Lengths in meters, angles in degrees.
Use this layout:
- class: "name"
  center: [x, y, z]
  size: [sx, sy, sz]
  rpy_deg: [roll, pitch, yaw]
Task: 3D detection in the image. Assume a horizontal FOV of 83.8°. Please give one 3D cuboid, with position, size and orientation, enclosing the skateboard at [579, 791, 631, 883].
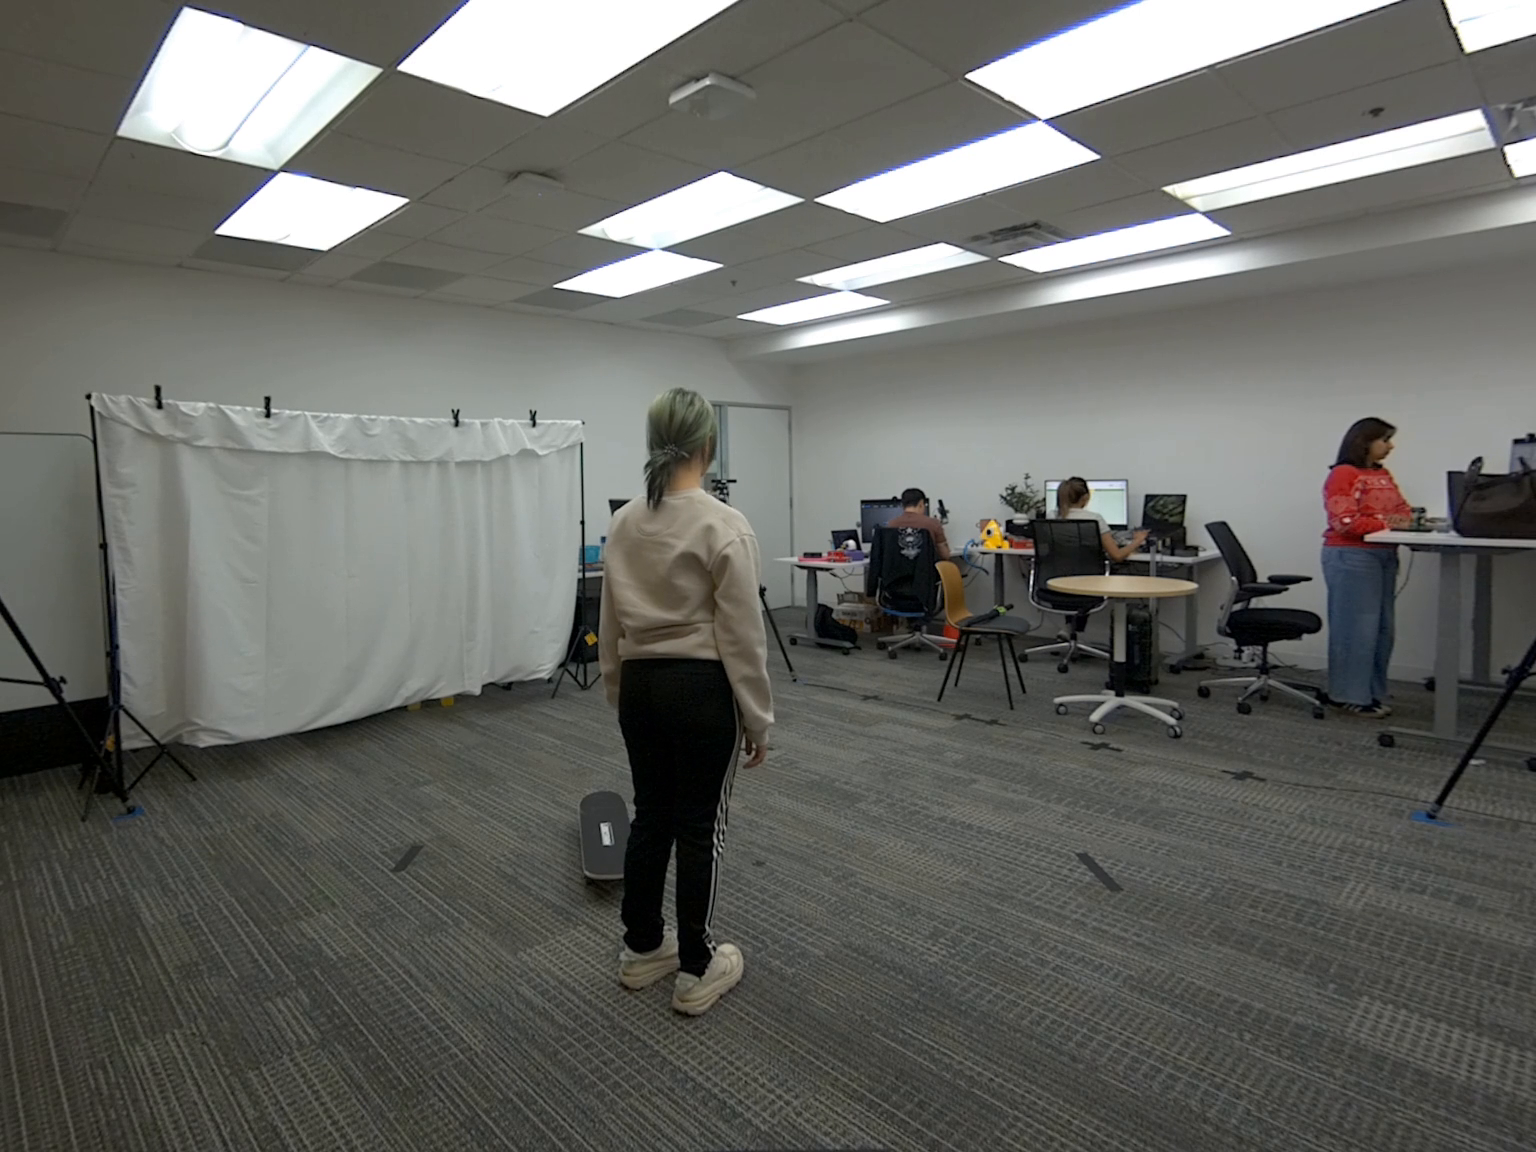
- class: "skateboard"
  center: [-0.602, 0.994, 3.186]
  size: [0.191, 0.110, 0.798]
  rpy_deg: [-2, 6, -14]
